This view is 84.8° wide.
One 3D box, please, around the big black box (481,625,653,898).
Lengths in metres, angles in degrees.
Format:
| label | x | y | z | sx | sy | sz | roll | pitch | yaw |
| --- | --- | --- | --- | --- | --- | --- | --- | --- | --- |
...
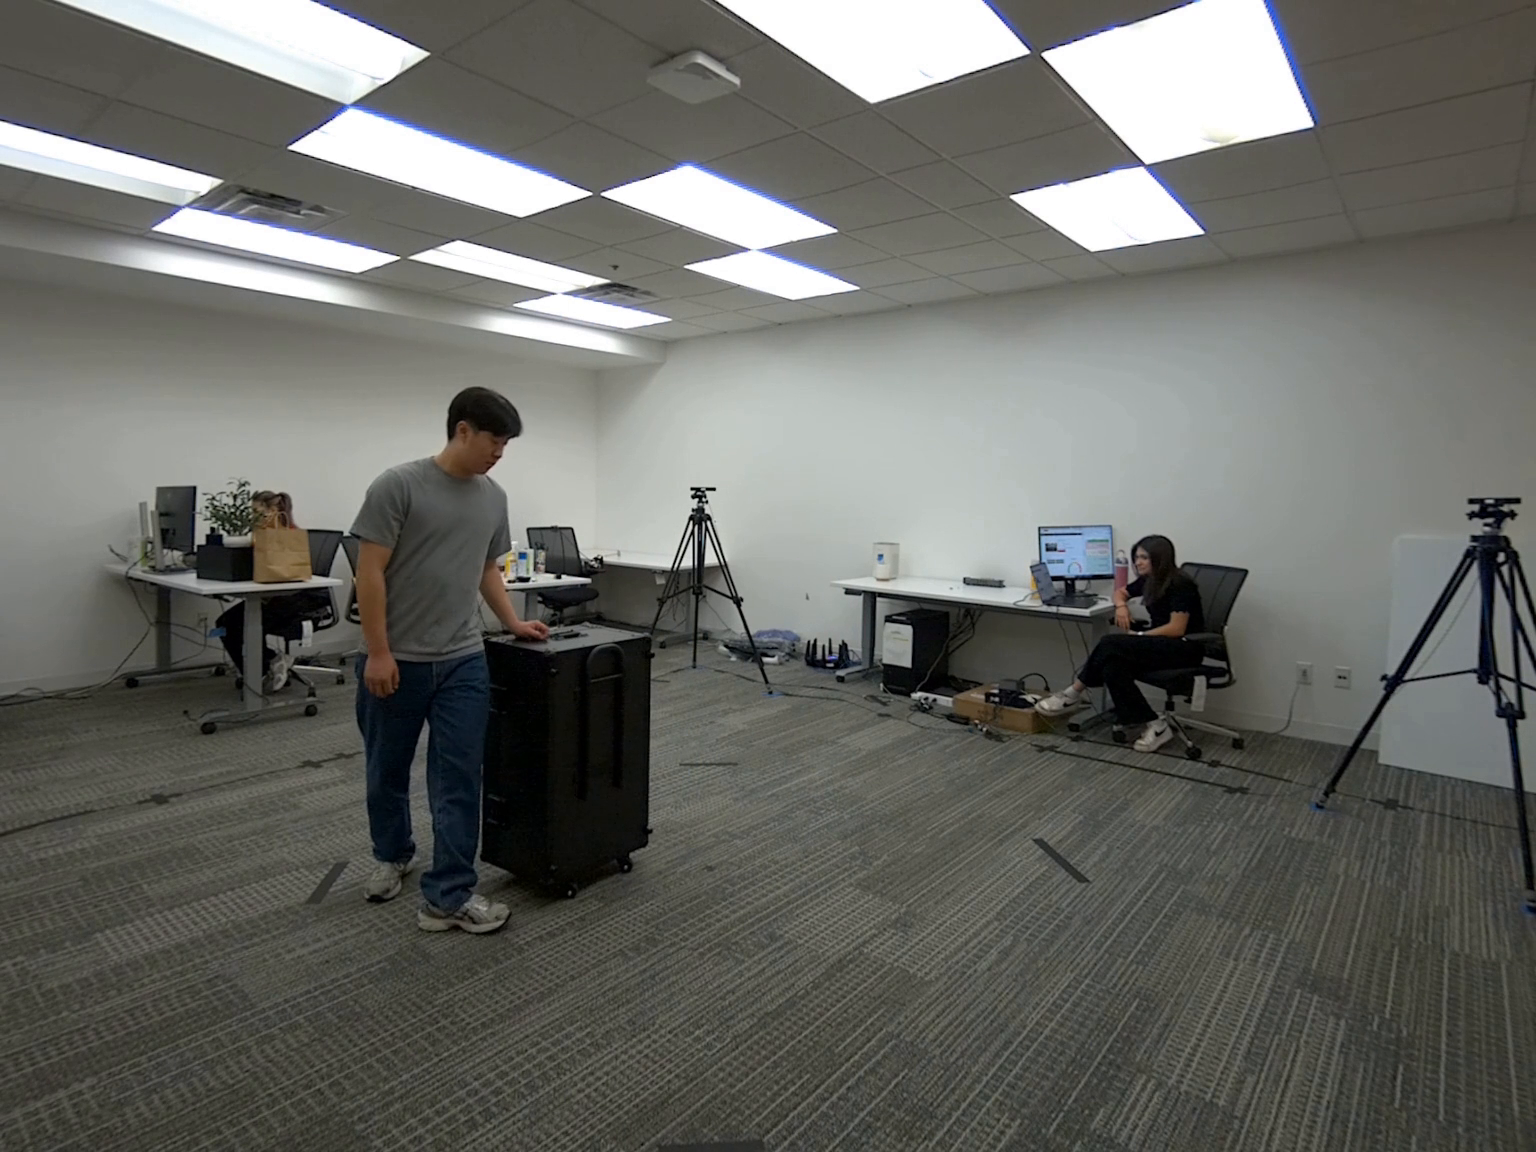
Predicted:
| label | x | y | z | sx | sy | sz | roll | pitch | yaw |
| --- | --- | --- | --- | --- | --- | --- | --- | --- | --- |
| big black box | -0.712 | 0.640 | 3.036 | 0.409 | 0.859 | 0.506 | 5 | 5 | 37 |
